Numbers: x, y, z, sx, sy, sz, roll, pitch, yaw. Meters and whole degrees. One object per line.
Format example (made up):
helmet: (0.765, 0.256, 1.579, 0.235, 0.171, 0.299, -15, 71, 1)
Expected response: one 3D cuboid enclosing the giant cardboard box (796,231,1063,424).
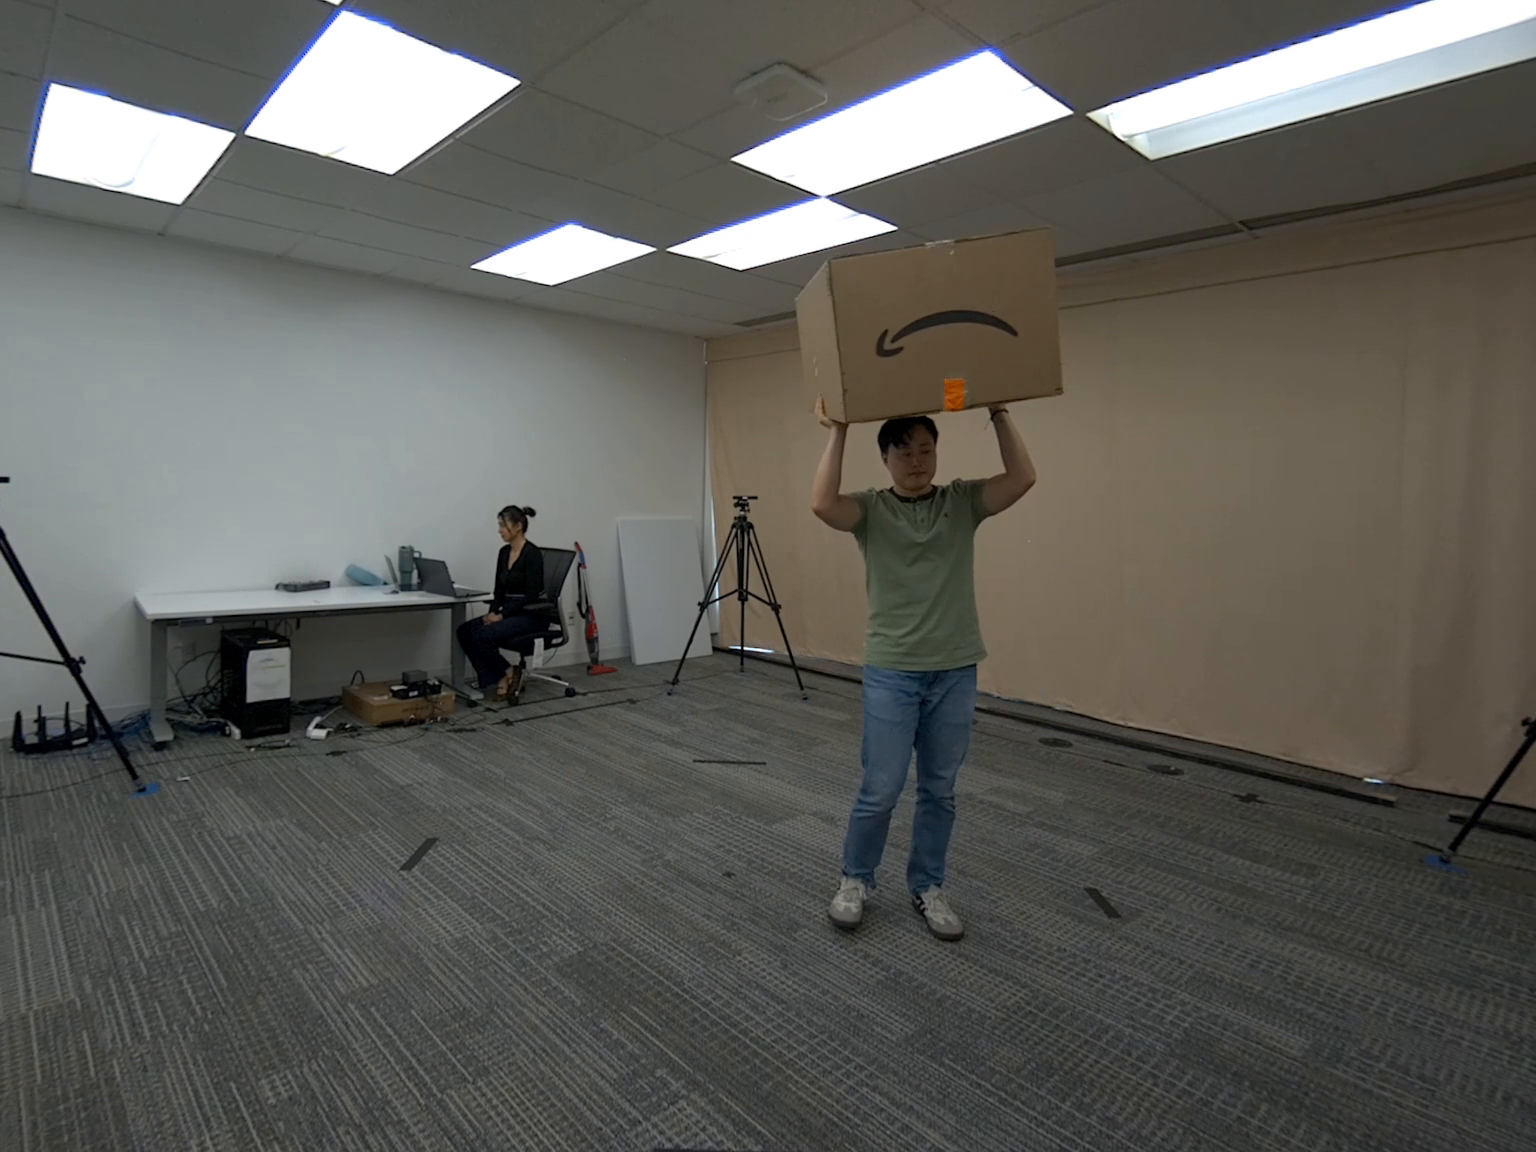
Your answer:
giant cardboard box: (0.432, -0.742, 2.667, 0.578, 0.422, 1.036, -7, 13, 0)
